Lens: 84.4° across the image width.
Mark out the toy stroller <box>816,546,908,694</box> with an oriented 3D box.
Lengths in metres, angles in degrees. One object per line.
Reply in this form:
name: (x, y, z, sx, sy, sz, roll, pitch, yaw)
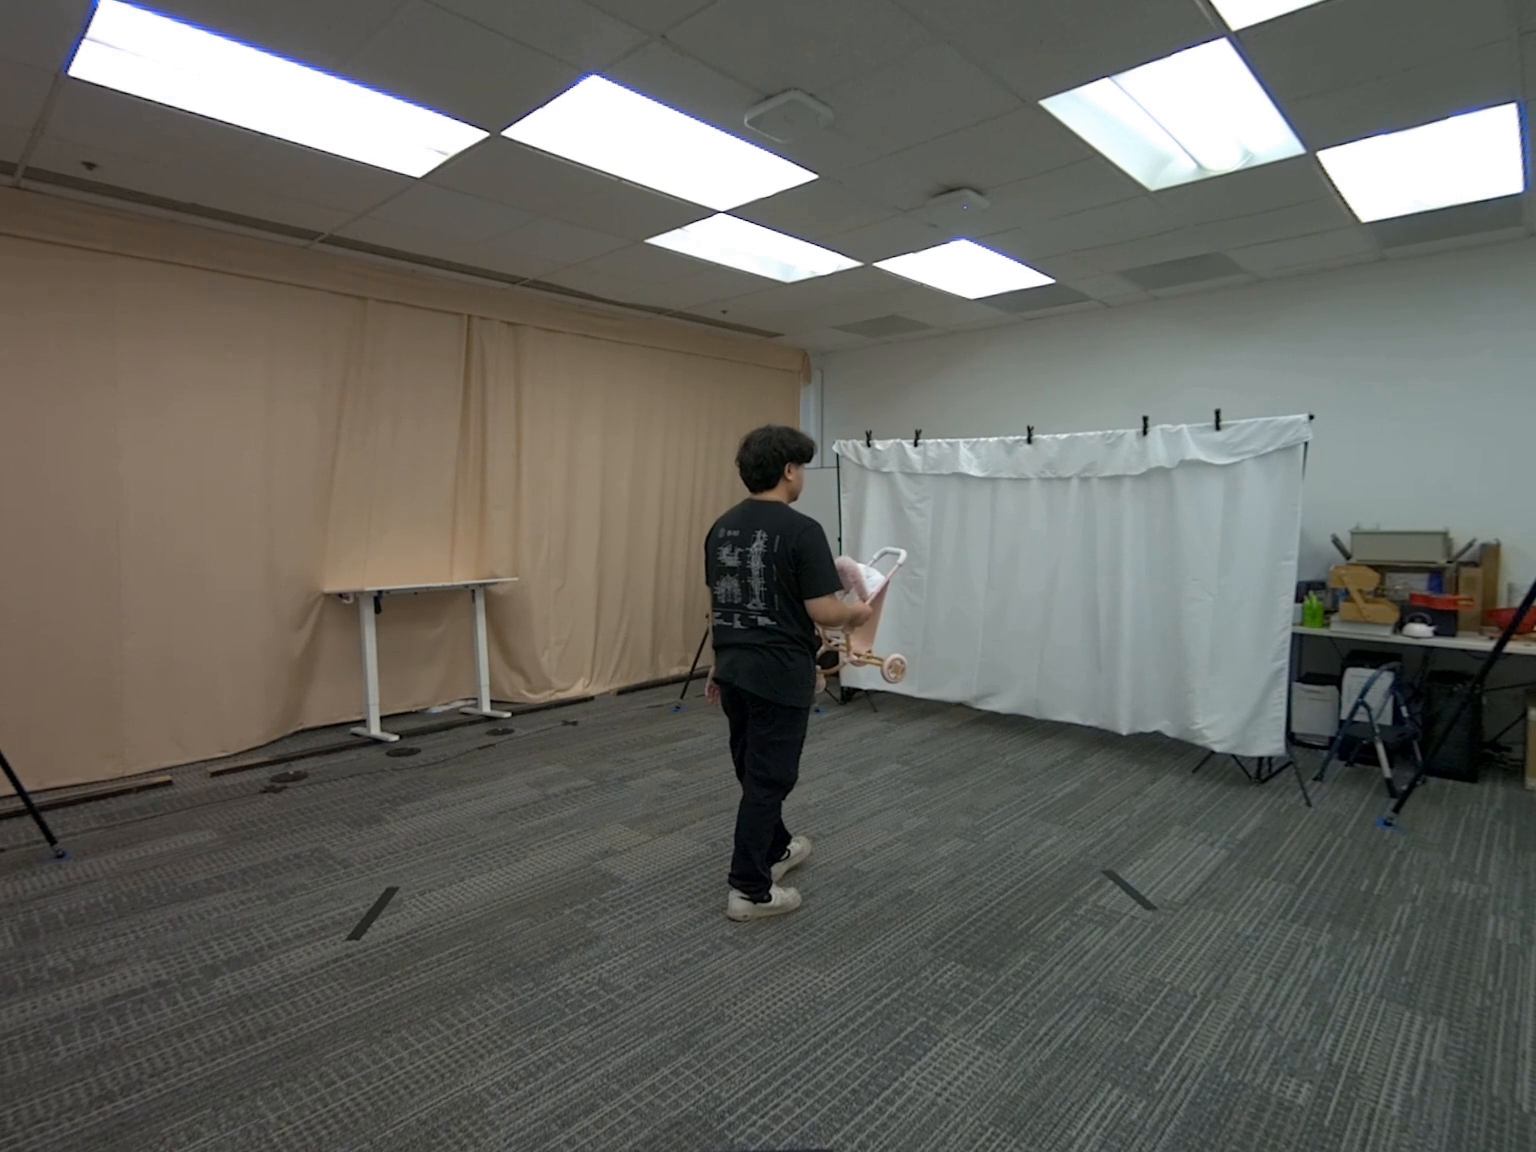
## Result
toy stroller: (0.320, 0.166, 3.105, 0.335, 0.533, 0.287, 1, 7, -17)
